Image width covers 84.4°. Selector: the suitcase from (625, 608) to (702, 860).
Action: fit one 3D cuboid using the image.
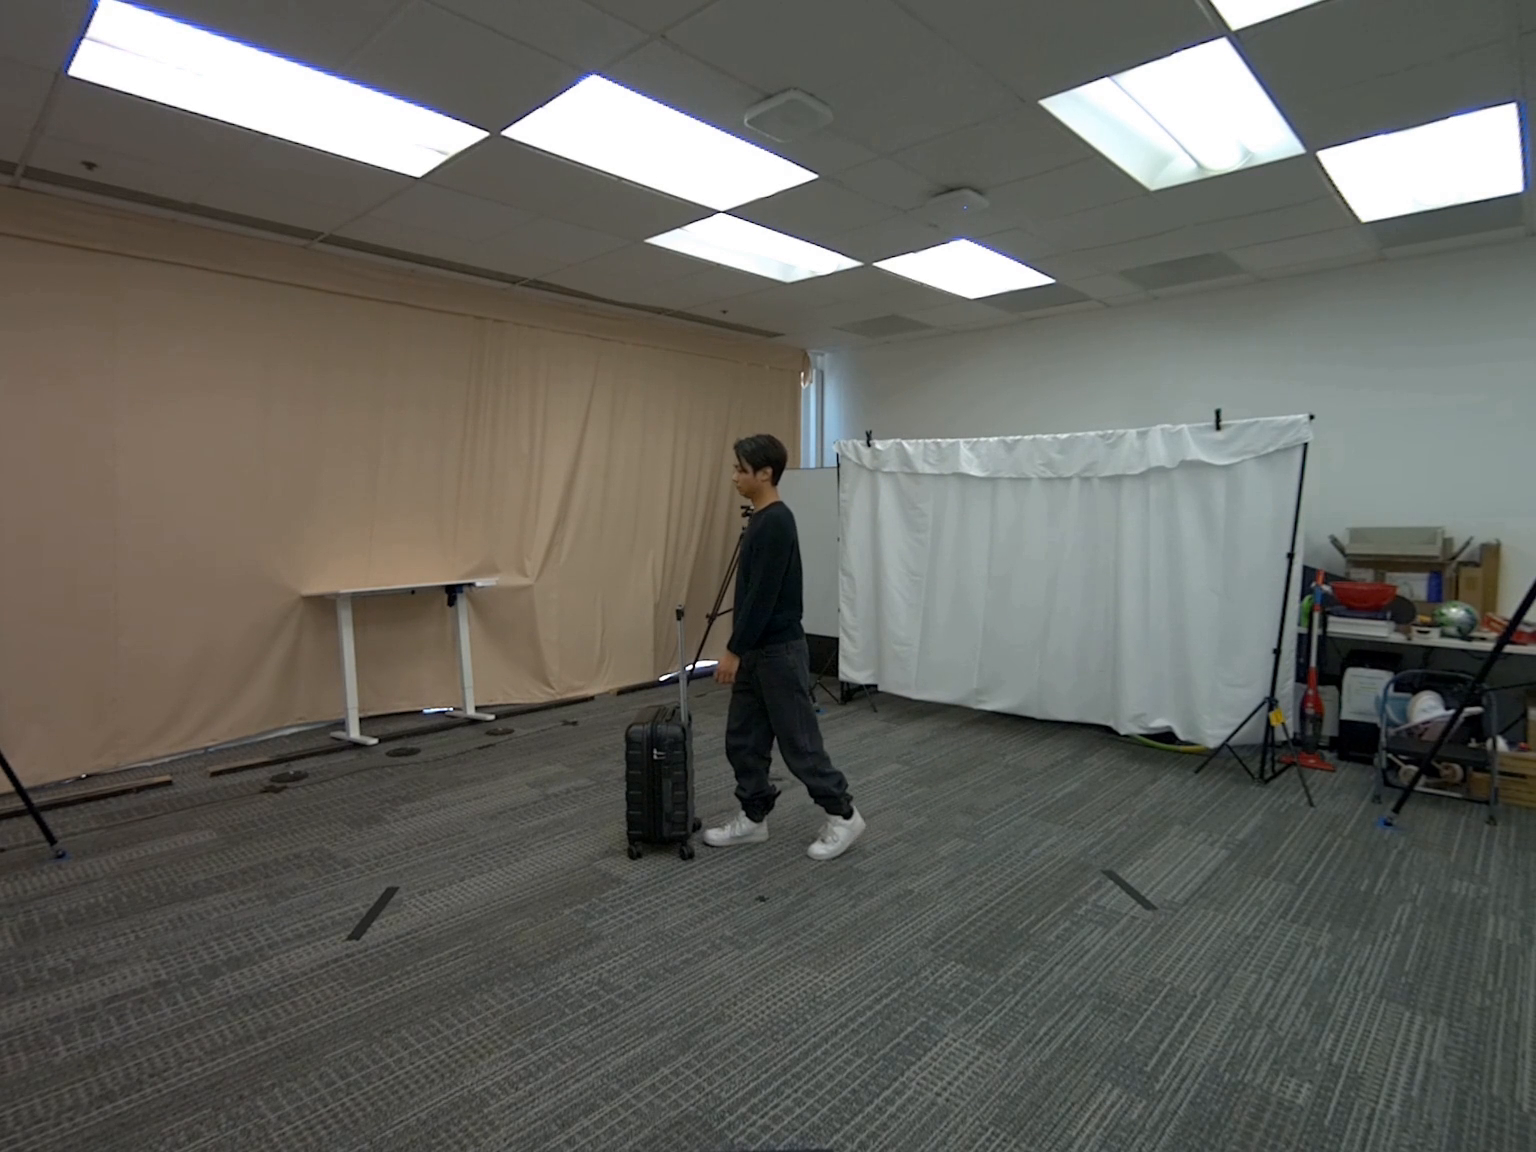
[{"bbox_3d":[-0.446,0.630,3.477,0.258,0.977,0.383,-2,2,1],"label":"suitcase"}]
